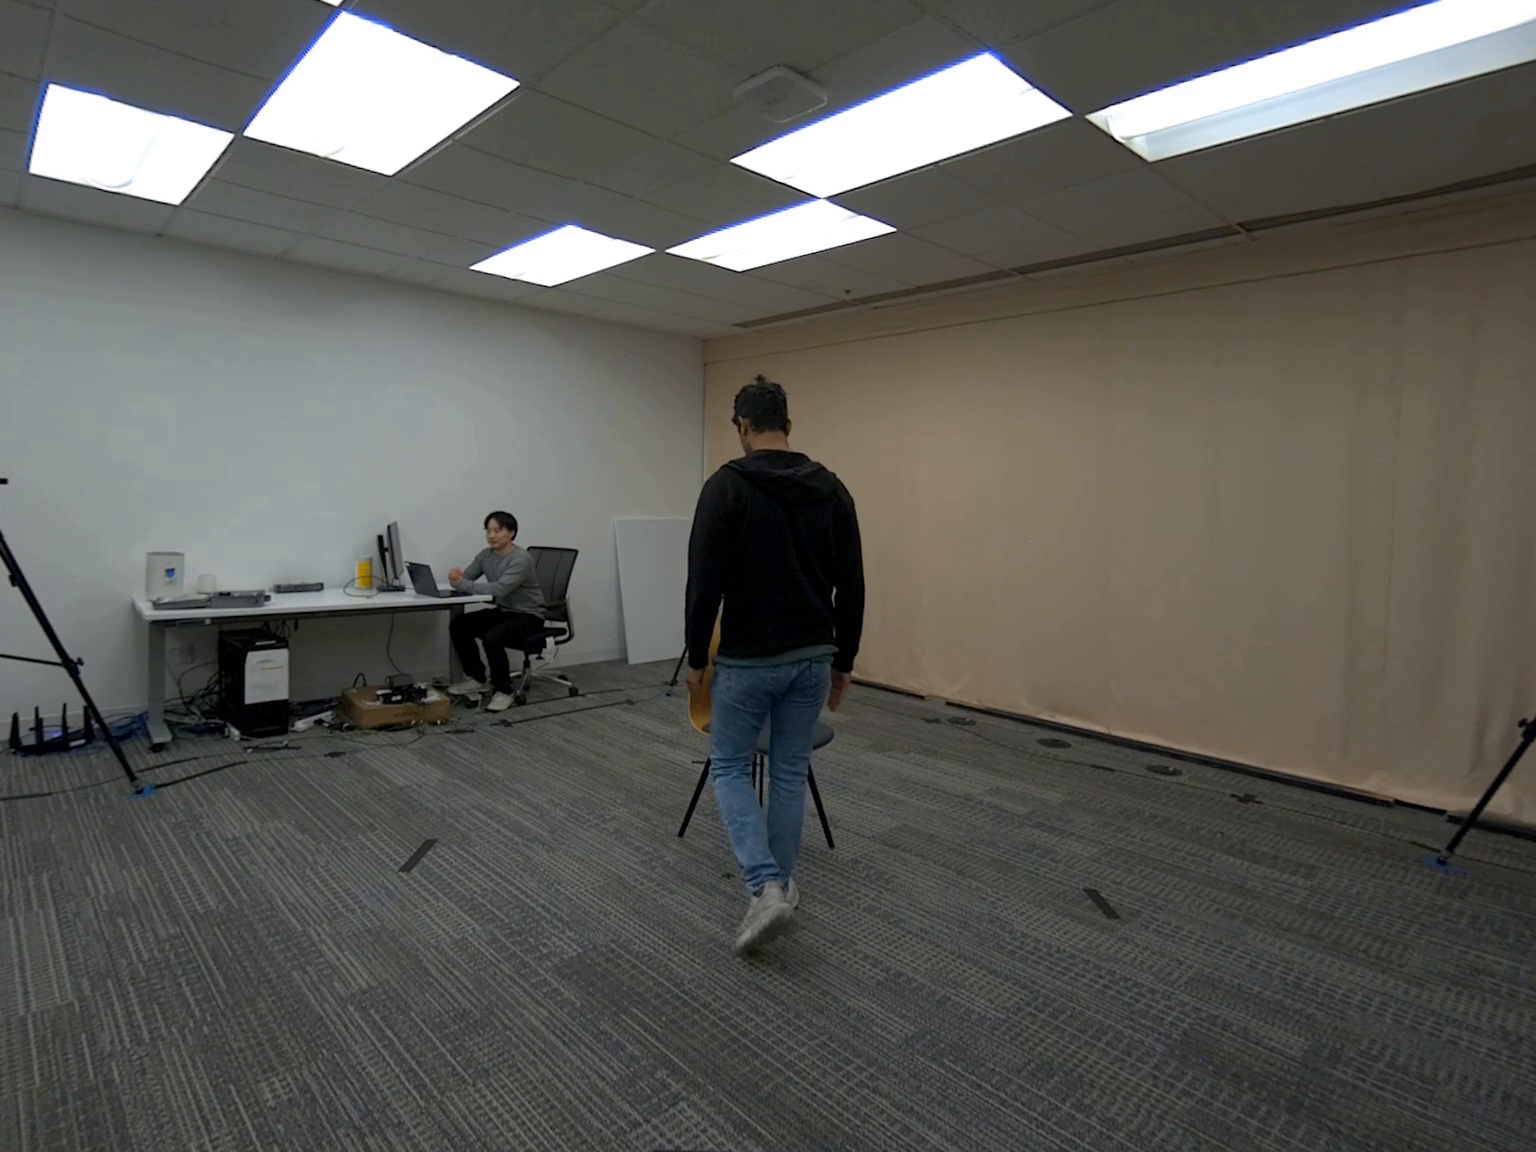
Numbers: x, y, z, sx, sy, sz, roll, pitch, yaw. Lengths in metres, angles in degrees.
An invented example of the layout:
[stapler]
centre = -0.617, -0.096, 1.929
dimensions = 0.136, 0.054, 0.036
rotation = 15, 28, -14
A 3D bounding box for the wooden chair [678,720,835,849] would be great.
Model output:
[wooden chair]
centre = -0.042, 0.662, 3.381
dimensions = 0.467, 0.878, 0.535
rotation = 0, 0, -40
